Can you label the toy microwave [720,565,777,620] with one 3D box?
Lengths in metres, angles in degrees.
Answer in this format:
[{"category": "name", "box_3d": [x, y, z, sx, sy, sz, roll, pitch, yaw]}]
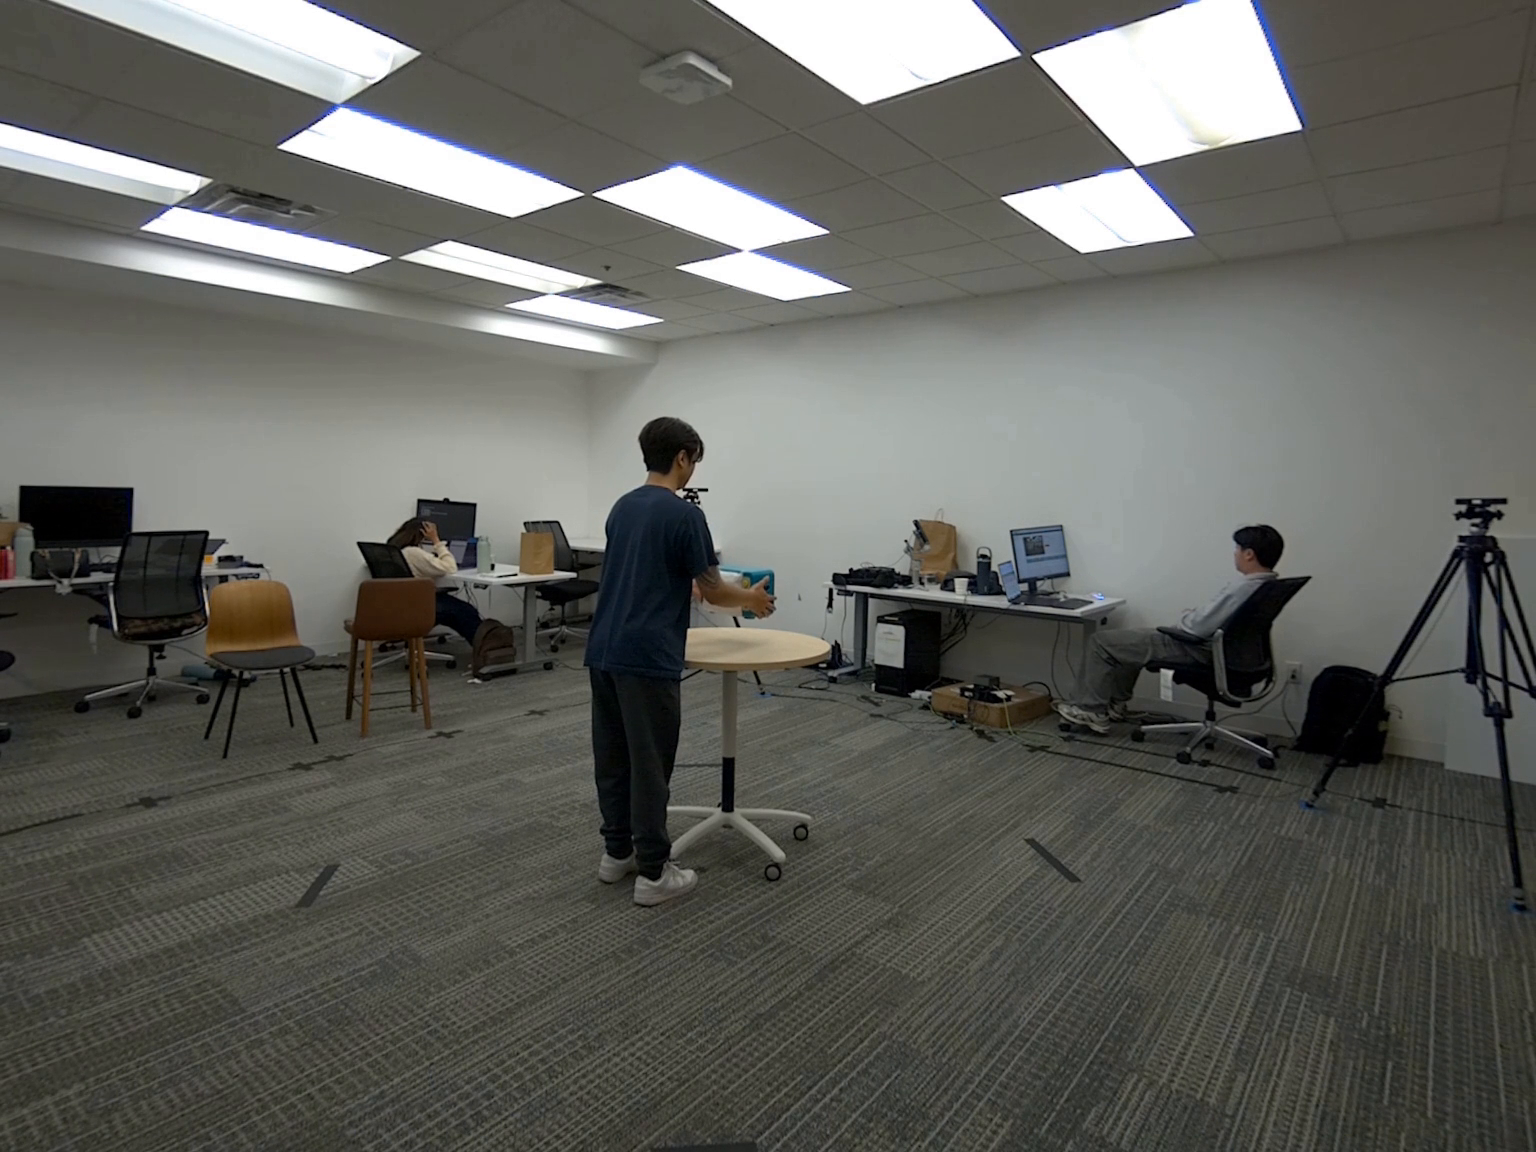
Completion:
[{"category": "toy microwave", "box_3d": [-0.136, 0.060, 3.308, 0.296, 0.183, 0.148, 5, 6, 44]}]
